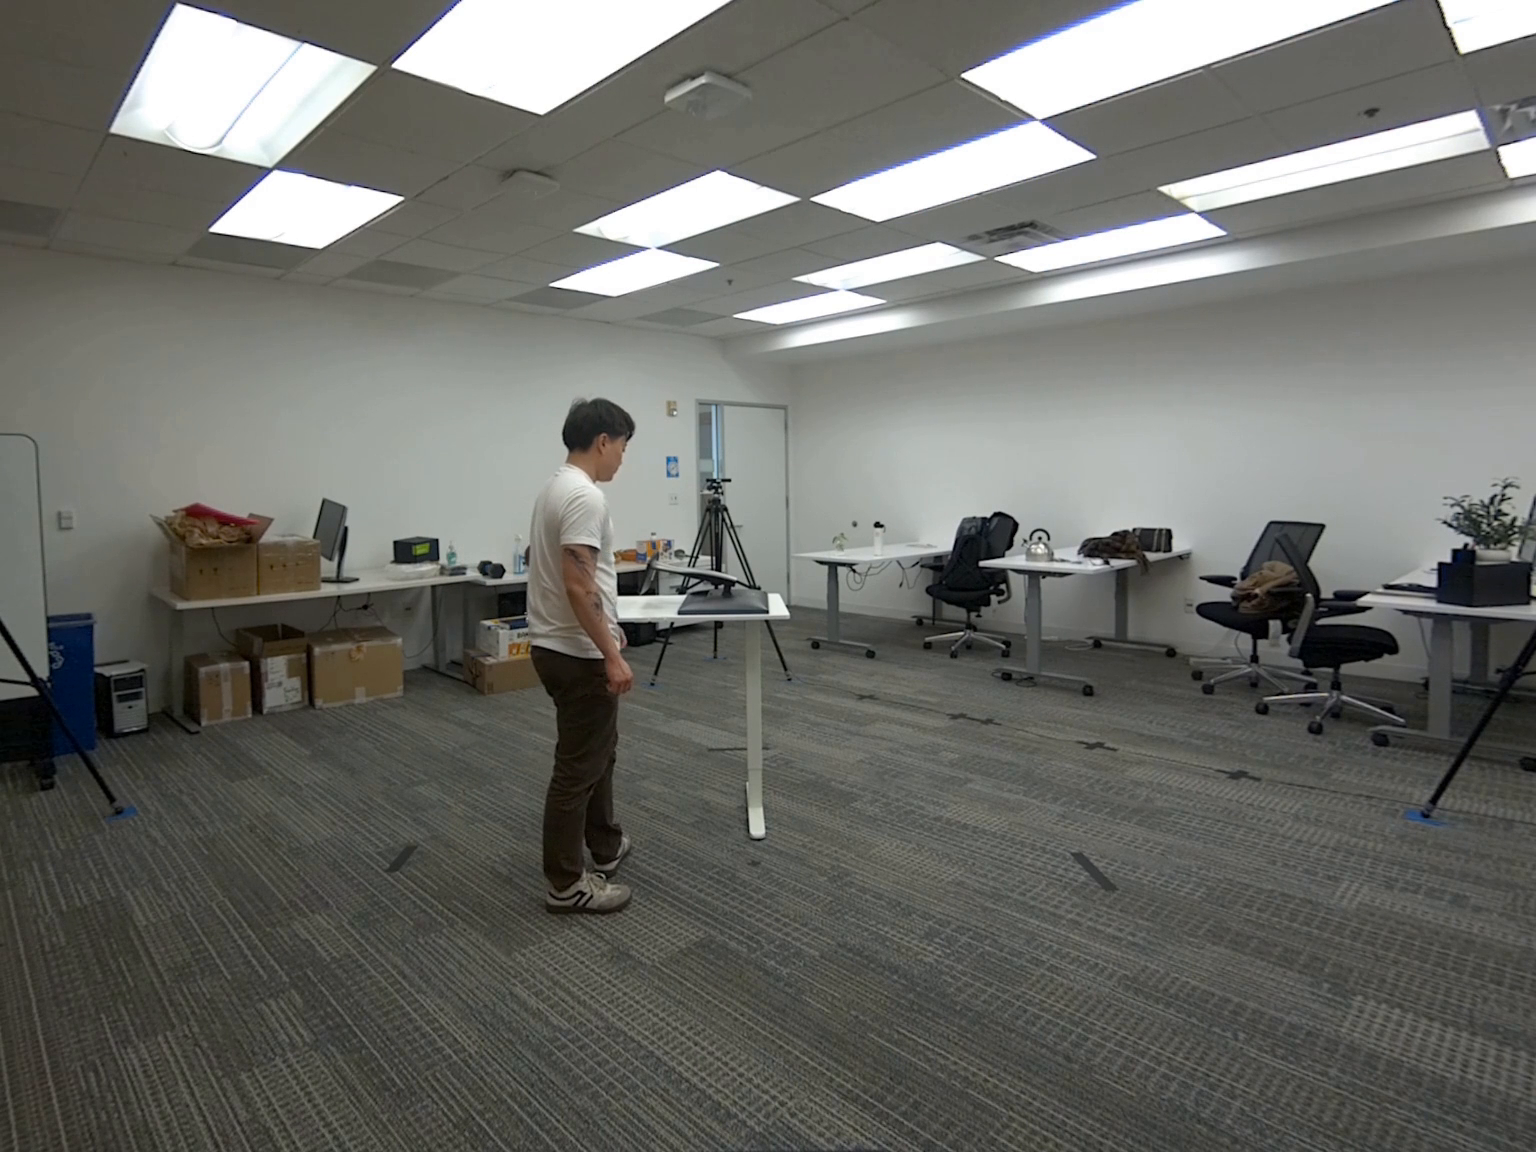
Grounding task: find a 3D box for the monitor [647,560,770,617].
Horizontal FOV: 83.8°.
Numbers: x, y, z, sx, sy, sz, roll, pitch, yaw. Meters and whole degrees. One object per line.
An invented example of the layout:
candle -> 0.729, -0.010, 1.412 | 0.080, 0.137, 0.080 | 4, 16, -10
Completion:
monitor -> -0.253, 0.056, 3.547 | 0.523, 0.186, 0.541 | 16, 8, 0
